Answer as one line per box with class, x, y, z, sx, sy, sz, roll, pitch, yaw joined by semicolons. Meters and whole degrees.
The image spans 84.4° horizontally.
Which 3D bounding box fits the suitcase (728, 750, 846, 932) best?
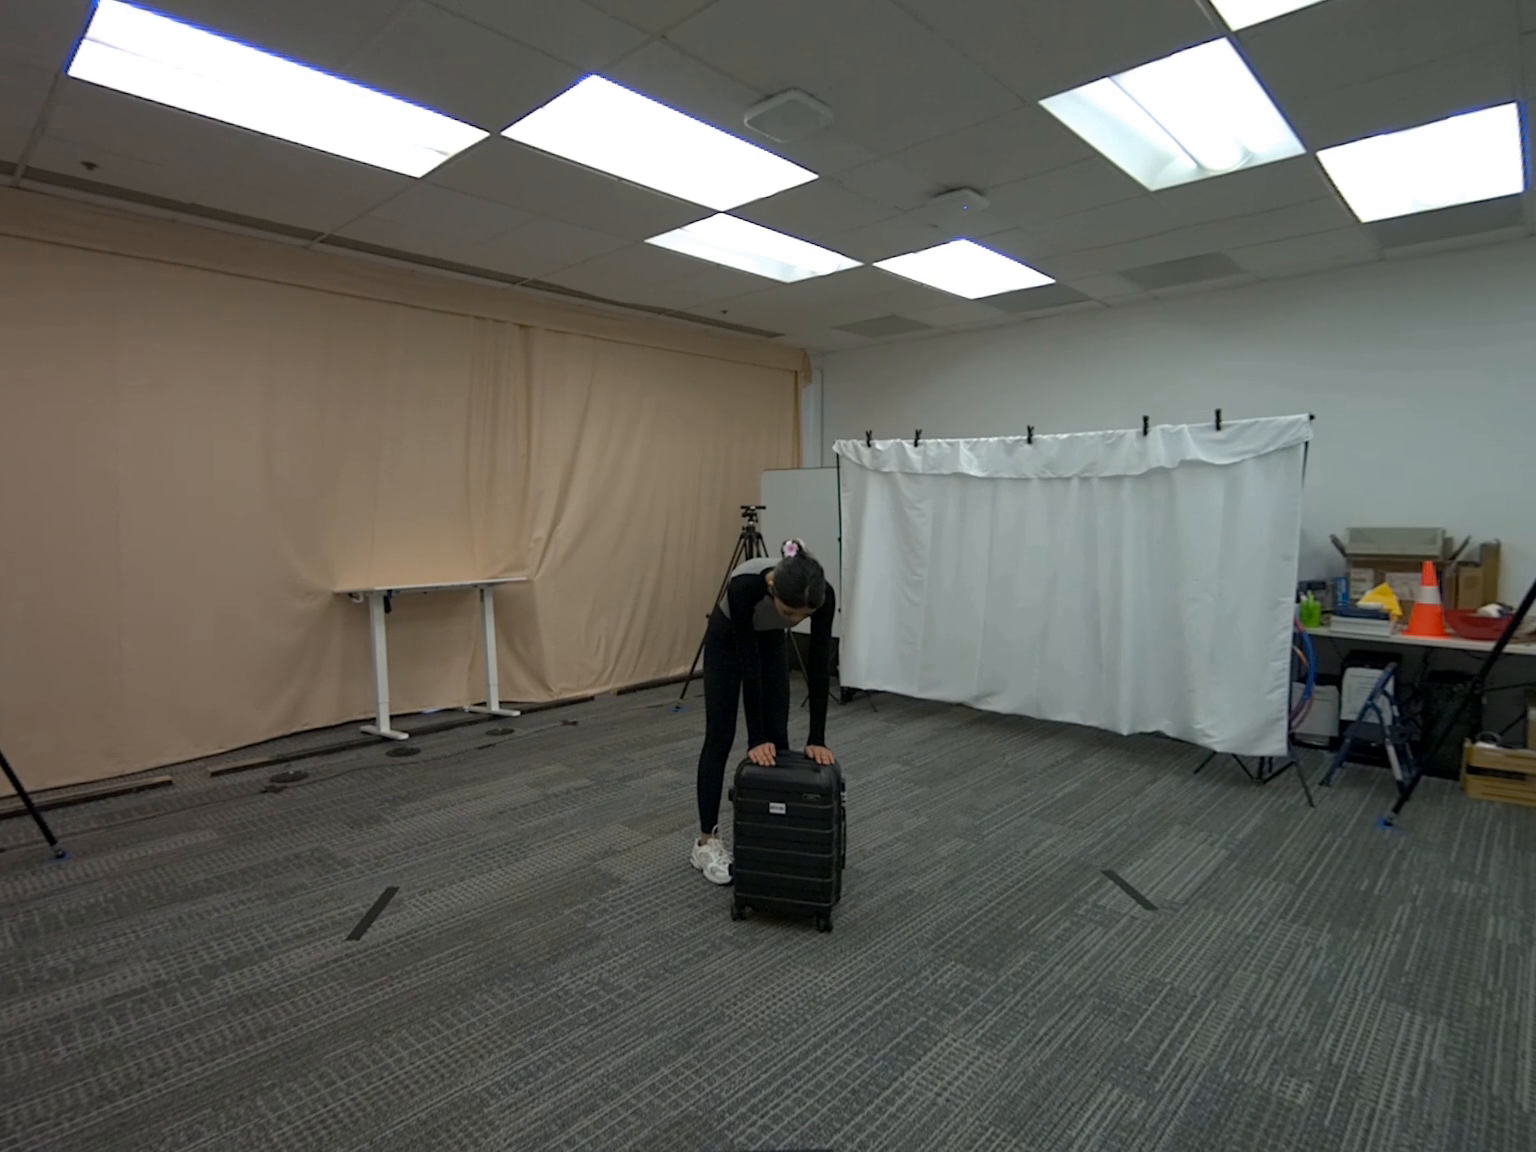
suitcase;0.075;0.879;2.865;0.382;0.547;0.245;1;5;16
